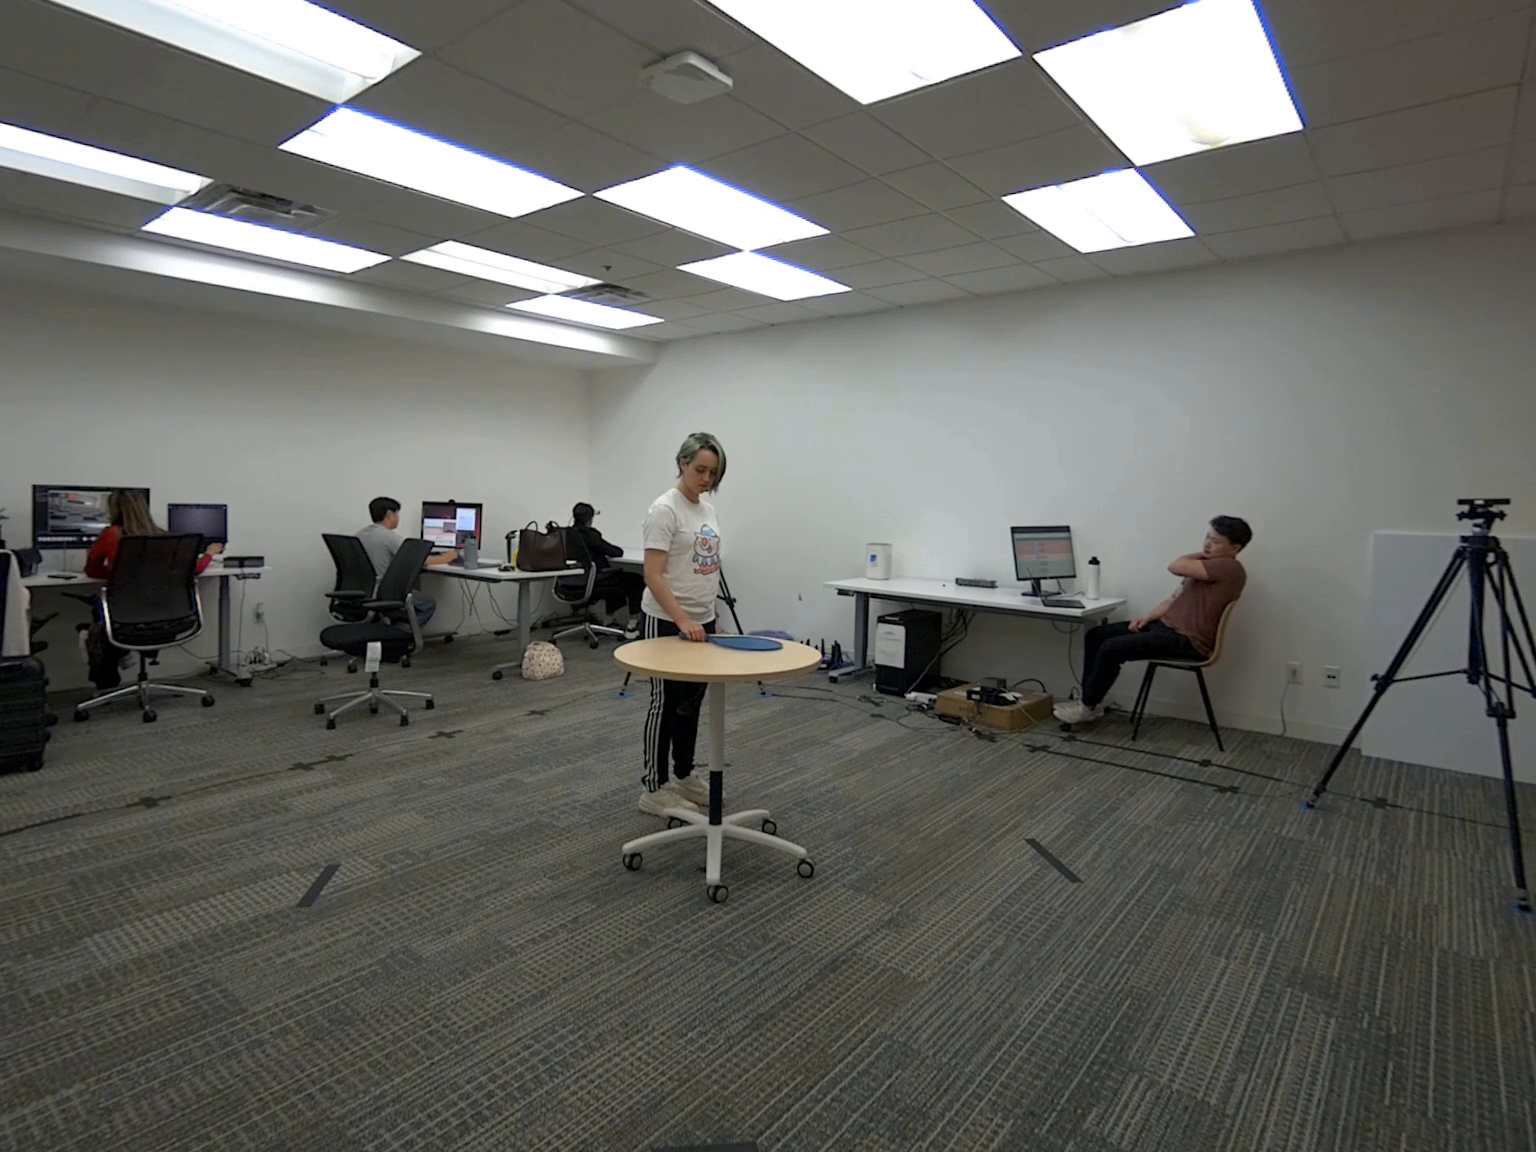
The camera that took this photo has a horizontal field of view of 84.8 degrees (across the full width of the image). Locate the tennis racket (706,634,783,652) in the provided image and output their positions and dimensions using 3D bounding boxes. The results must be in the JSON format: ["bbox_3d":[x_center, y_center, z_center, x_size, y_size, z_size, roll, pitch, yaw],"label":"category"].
[{"bbox_3d":[-0.149,0.255,3.335,0.444,0.031,0.209,5,9,25],"label":"tennis racket"}]
